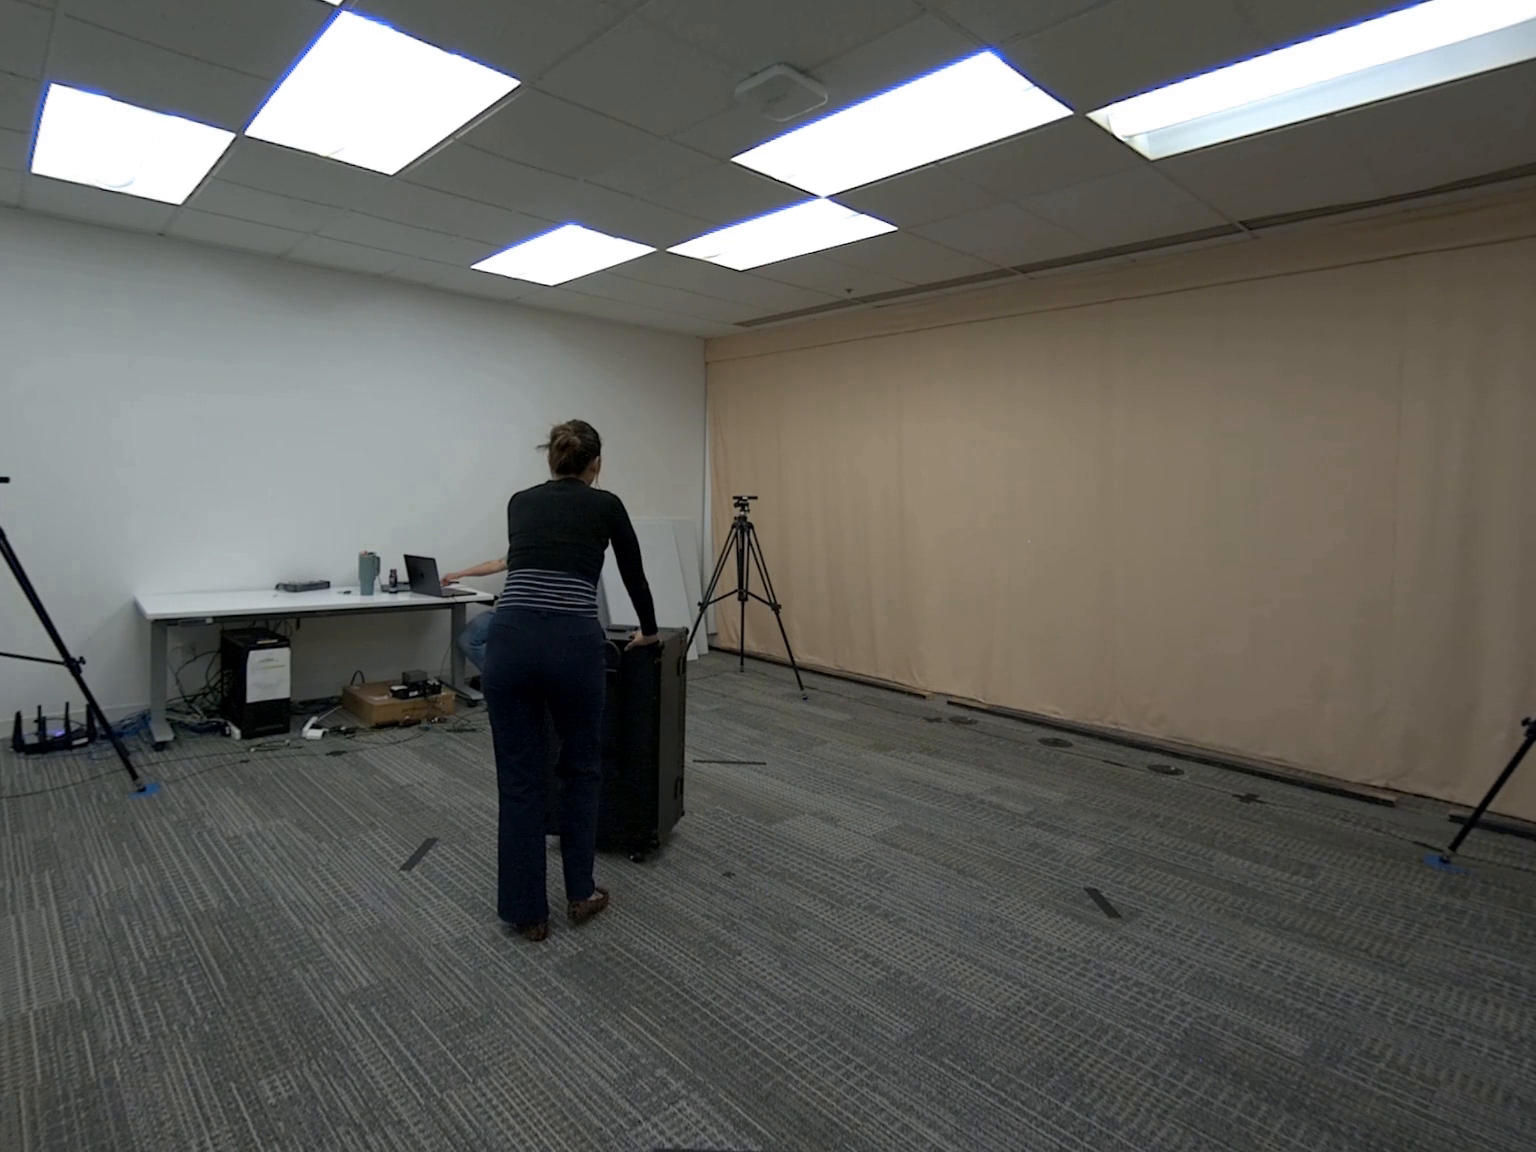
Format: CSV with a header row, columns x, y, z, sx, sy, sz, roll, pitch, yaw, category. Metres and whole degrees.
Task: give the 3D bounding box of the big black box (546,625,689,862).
x,y,z,sx,sy,sz,roll,pitch,yaw,category
-0.609,0.650,3.344,0.526,0.859,0.393,2,4,12,big black box
